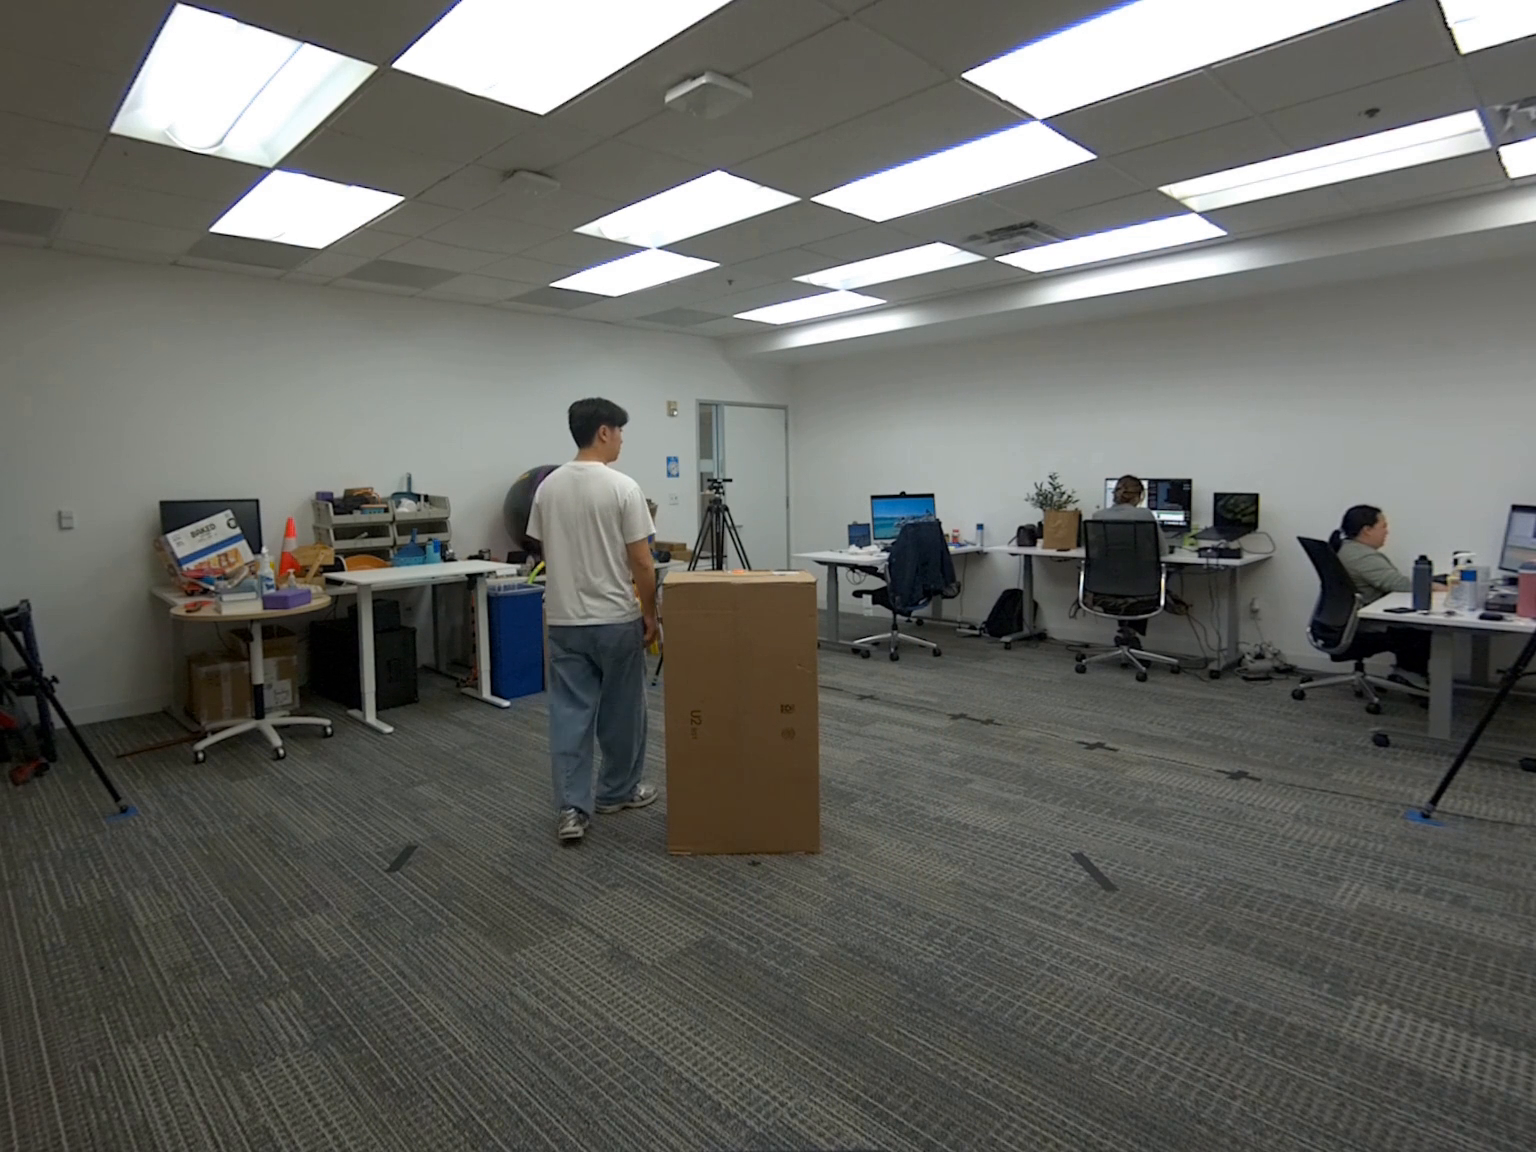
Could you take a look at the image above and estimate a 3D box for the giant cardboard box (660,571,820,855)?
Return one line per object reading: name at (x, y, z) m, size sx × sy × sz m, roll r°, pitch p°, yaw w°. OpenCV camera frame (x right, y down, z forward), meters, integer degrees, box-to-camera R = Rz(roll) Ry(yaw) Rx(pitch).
giant cardboard box at (-0.104, 0.507, 3.362) m, size 0.577 × 1.022 × 0.428 m, roll -1°, pitch 4°, yaw -1°
